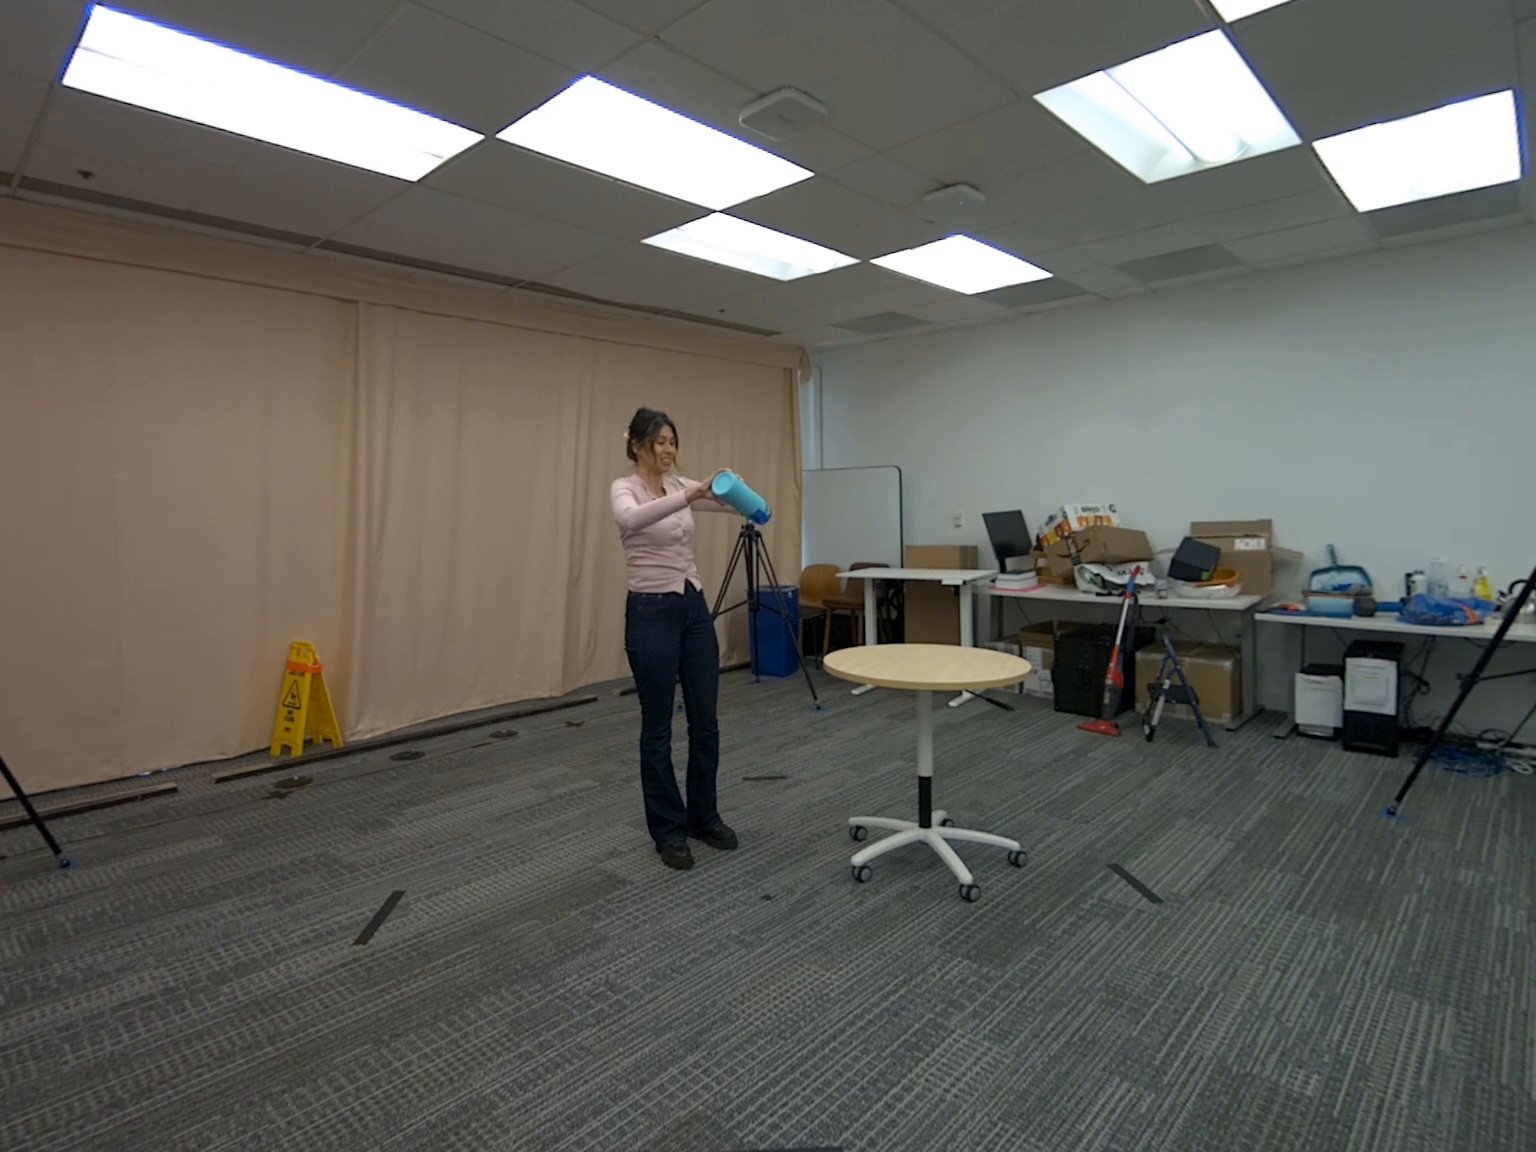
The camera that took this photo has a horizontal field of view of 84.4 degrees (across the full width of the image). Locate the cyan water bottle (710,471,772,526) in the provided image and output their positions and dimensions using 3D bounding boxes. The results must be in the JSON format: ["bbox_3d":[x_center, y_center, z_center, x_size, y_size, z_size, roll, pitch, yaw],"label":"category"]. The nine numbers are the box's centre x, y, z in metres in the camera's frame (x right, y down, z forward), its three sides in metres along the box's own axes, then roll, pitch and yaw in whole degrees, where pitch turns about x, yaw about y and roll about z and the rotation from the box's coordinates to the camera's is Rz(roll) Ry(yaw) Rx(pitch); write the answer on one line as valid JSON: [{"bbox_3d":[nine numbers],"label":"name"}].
[{"bbox_3d":[-0.084,-0.257,2.924,0.095,0.093,0.273,2,-20,34],"label":"cyan water bottle"}]
